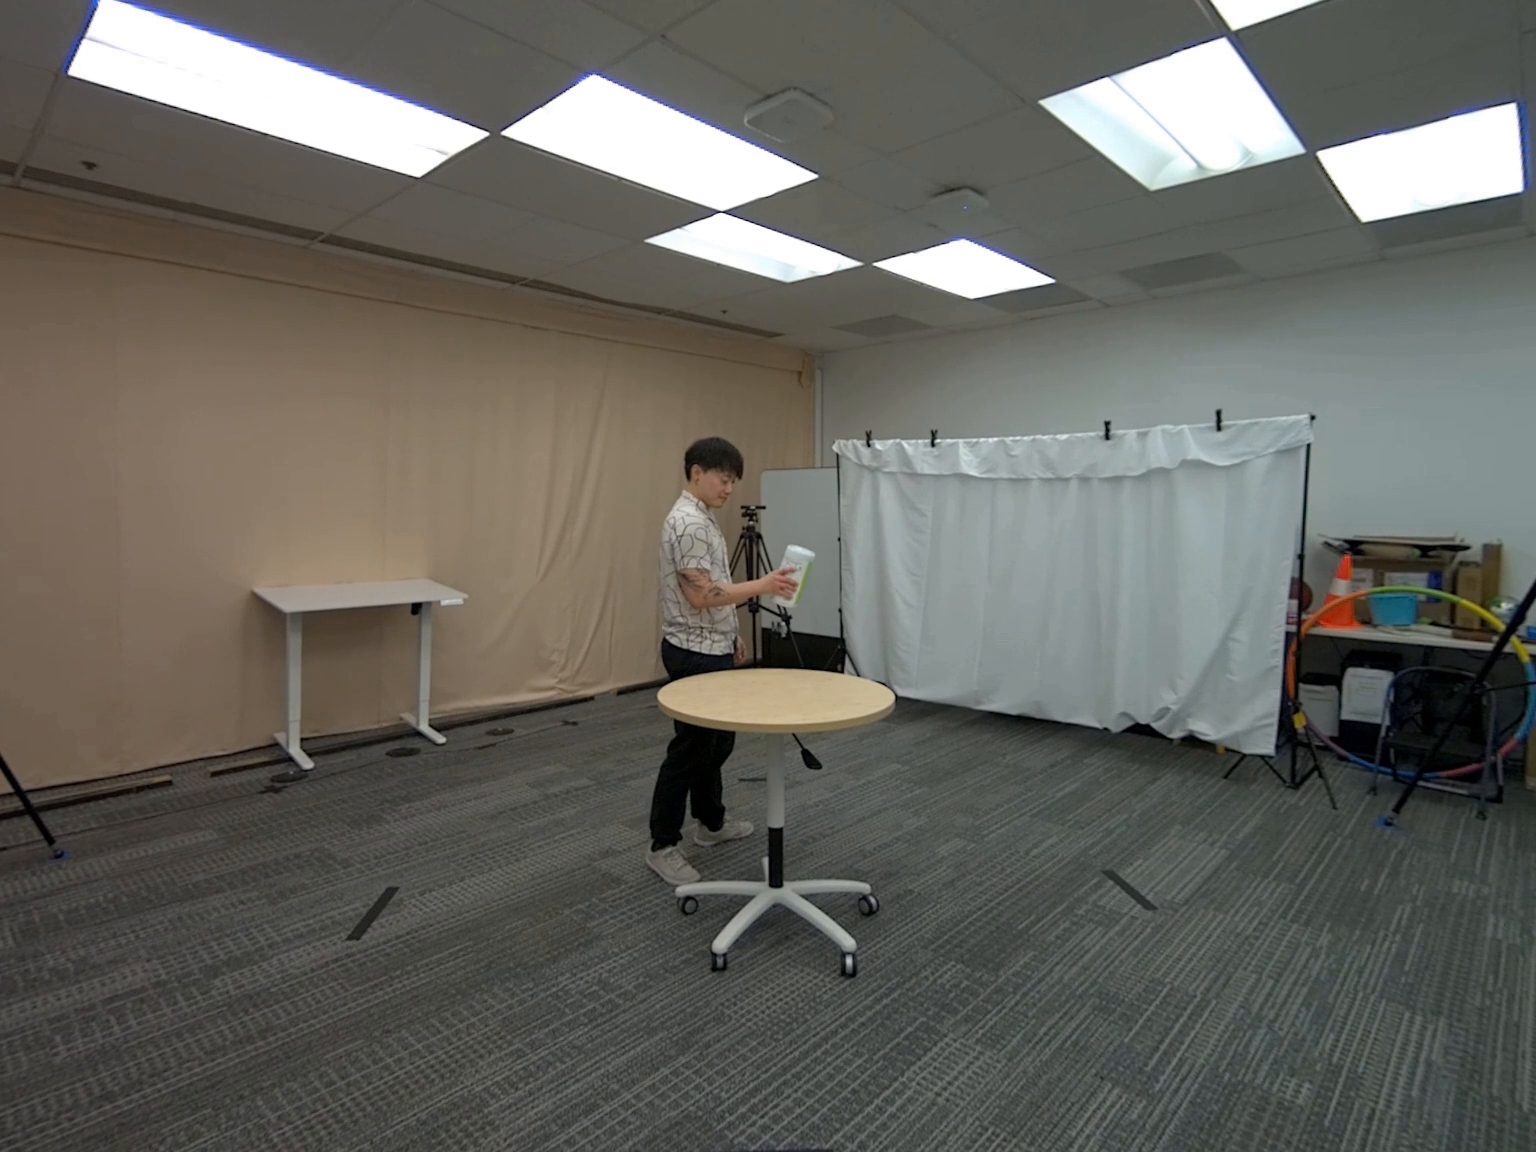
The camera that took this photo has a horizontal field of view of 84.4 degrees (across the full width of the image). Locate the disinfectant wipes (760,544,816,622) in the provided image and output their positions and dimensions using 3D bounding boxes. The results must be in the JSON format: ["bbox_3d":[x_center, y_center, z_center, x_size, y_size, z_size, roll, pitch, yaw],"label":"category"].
[{"bbox_3d":[0.091,0.005,3.110,0.117,0.217,0.119,18,14,-7],"label":"disinfectant wipes"}]
